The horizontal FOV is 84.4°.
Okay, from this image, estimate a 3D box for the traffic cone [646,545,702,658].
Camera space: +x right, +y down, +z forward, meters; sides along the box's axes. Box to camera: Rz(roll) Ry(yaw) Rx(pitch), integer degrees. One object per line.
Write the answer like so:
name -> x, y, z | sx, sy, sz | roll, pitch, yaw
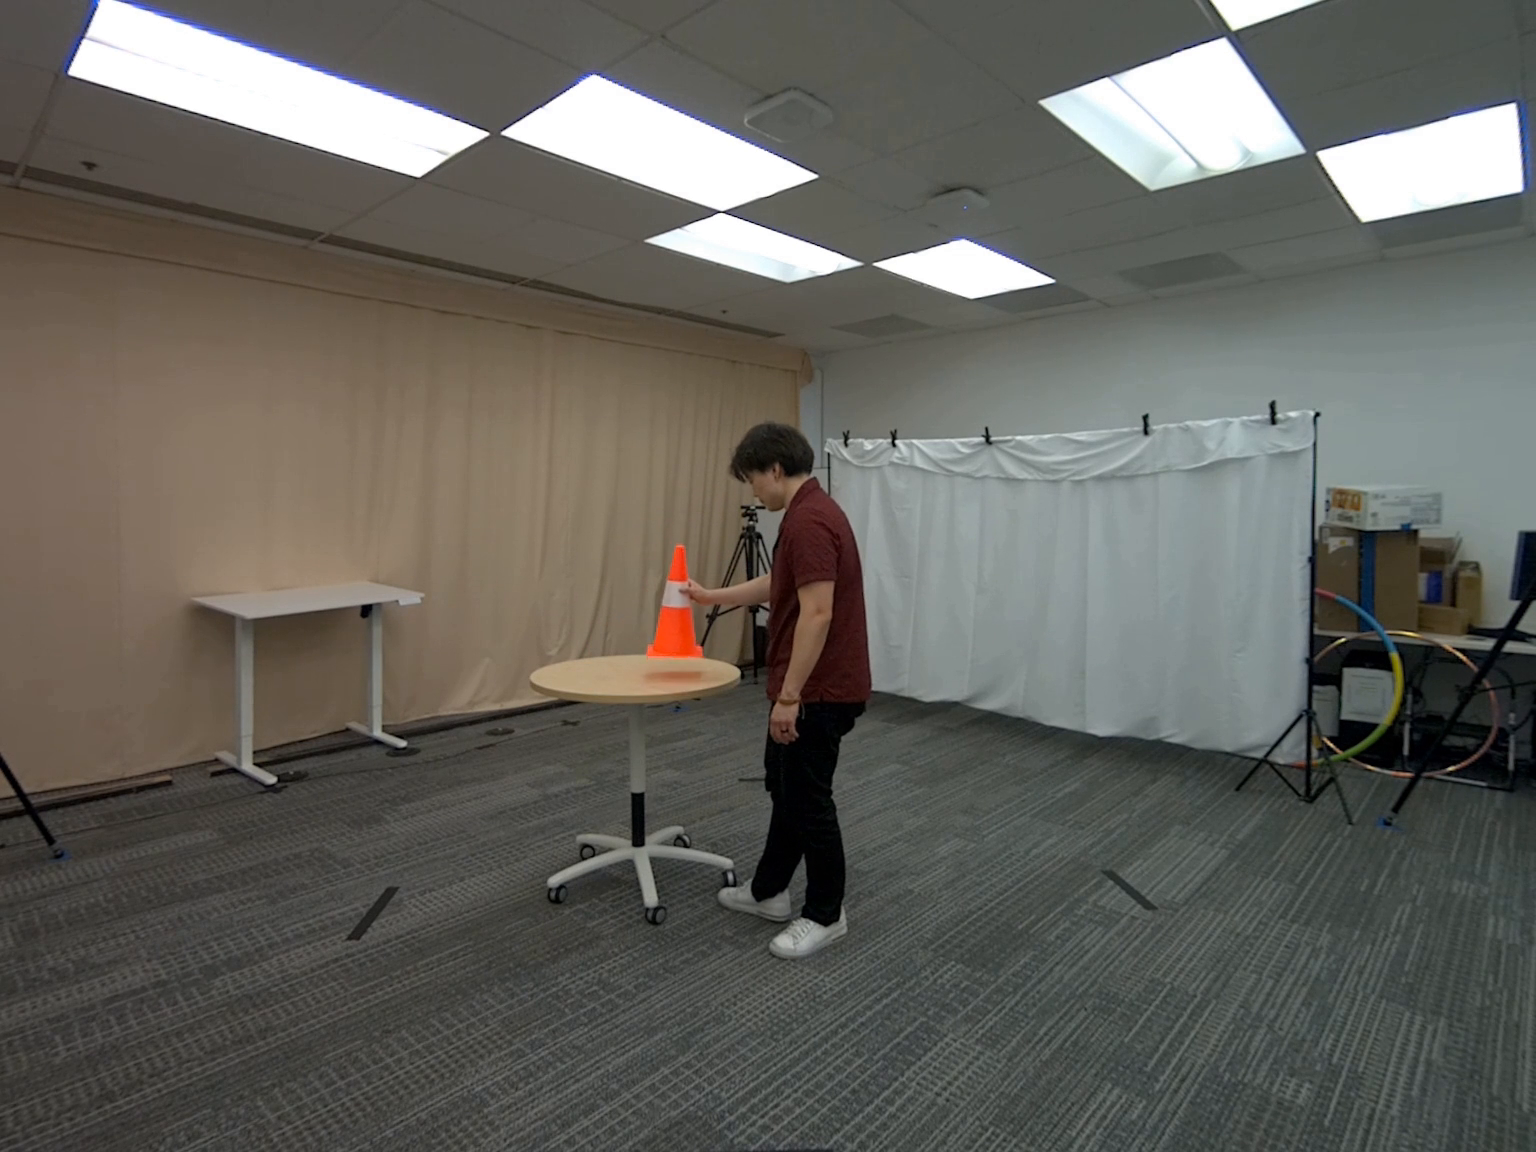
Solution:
traffic cone -> -0.321, 0.081, 2.996 | 0.203, 0.382, 0.205 | 4, 5, -7
